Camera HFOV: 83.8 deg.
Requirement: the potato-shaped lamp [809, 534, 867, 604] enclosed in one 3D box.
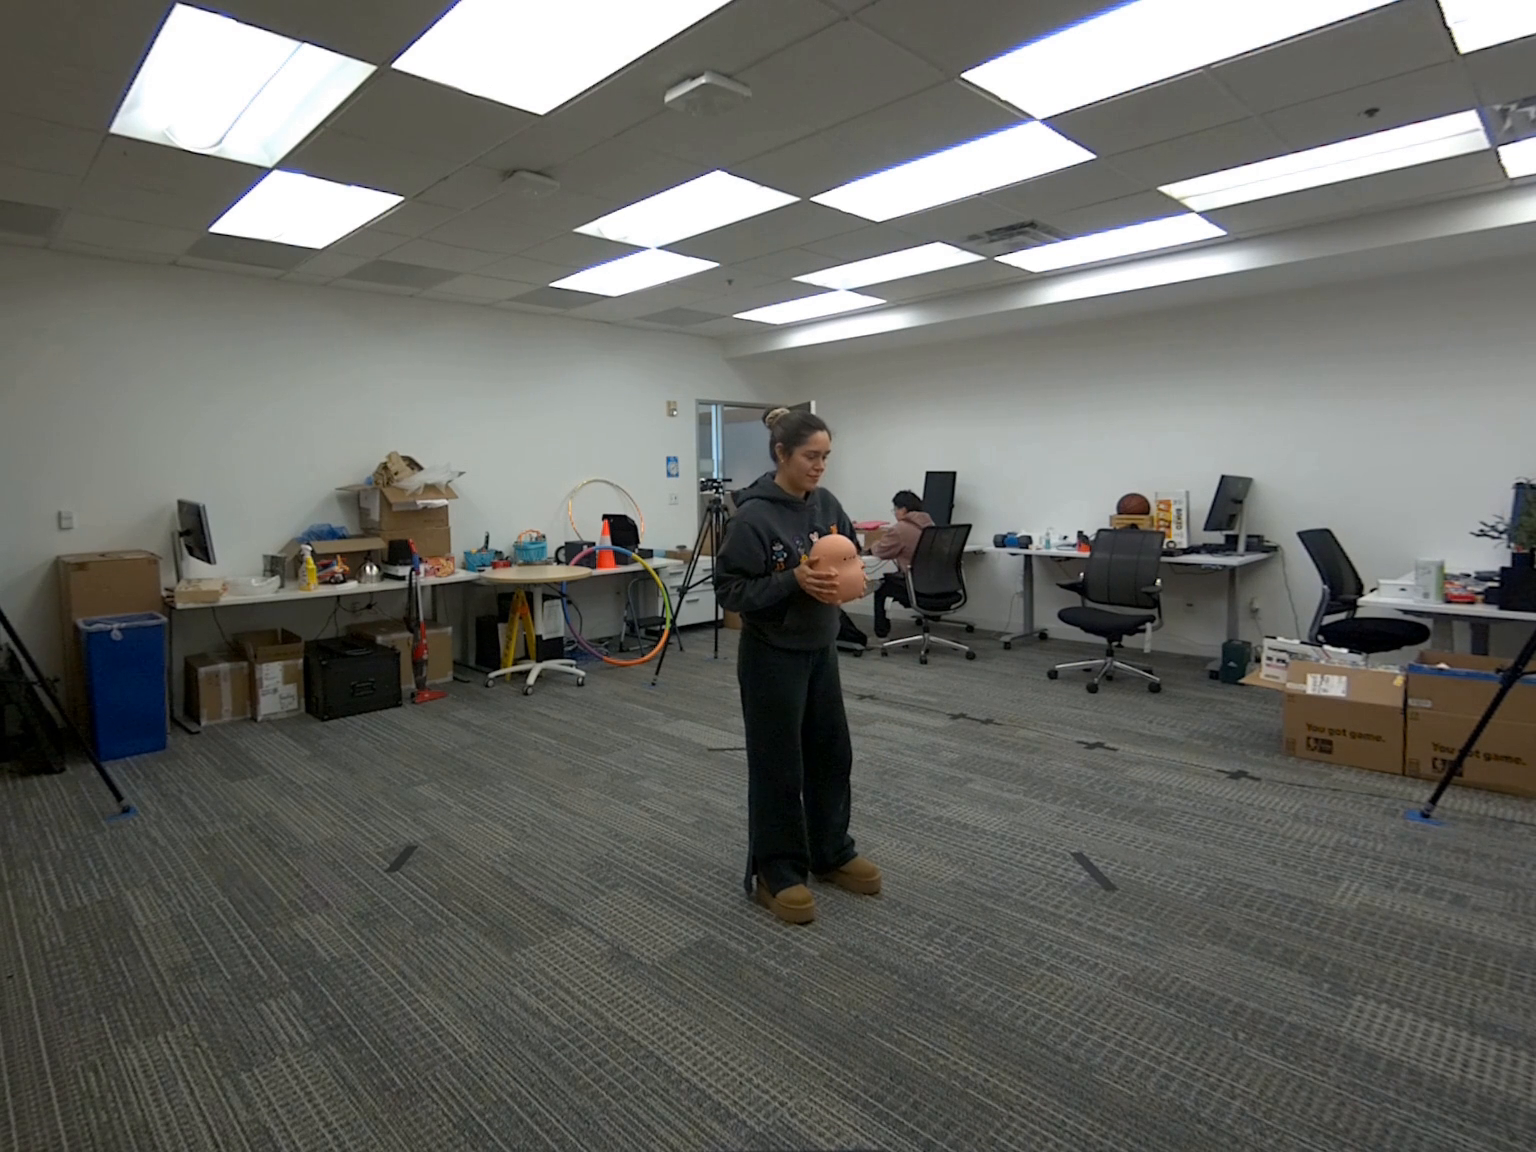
[{"bbox_3d":[0.199,-0.028,2.575,0.161,0.195,0.177,-13,19,-37],"label":"potato-shaped lamp"}]
